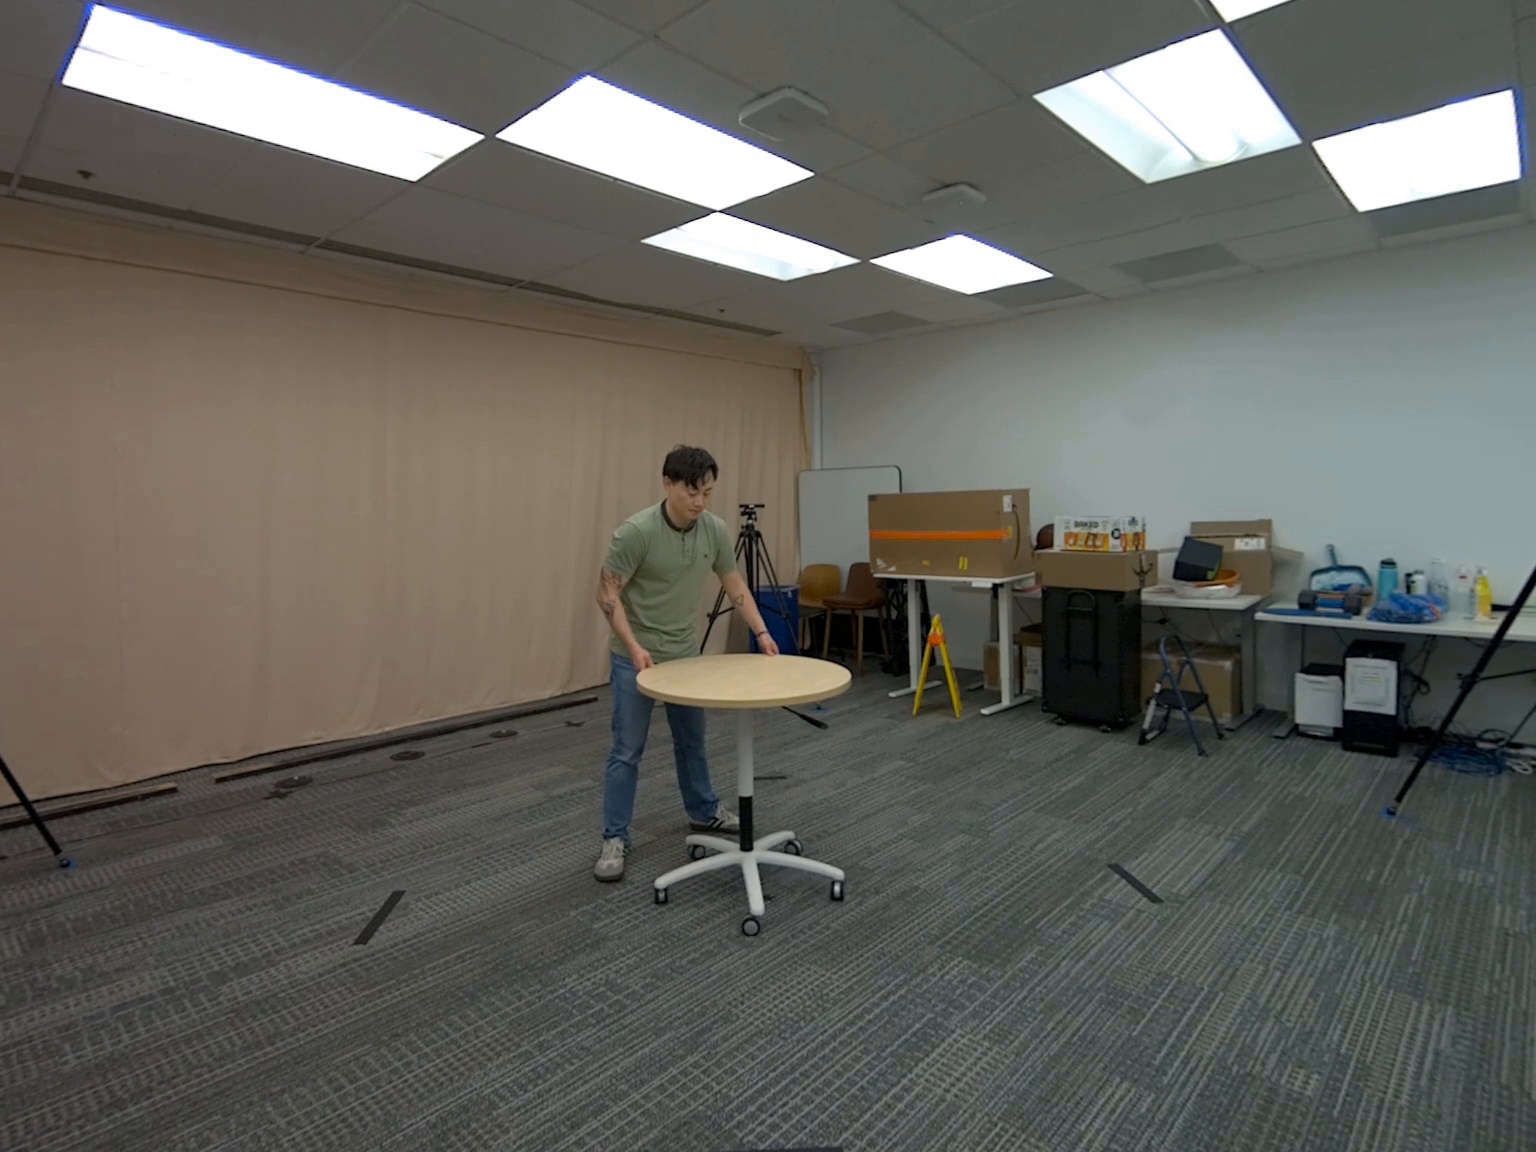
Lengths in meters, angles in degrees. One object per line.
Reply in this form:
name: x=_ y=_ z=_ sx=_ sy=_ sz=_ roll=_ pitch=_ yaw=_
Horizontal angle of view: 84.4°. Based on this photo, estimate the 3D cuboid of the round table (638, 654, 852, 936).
round table: x=-0.073 y=0.746 z=3.036 sx=0.763 sy=0.792 sz=0.767 roll=-1 pitch=4 yaw=-2
